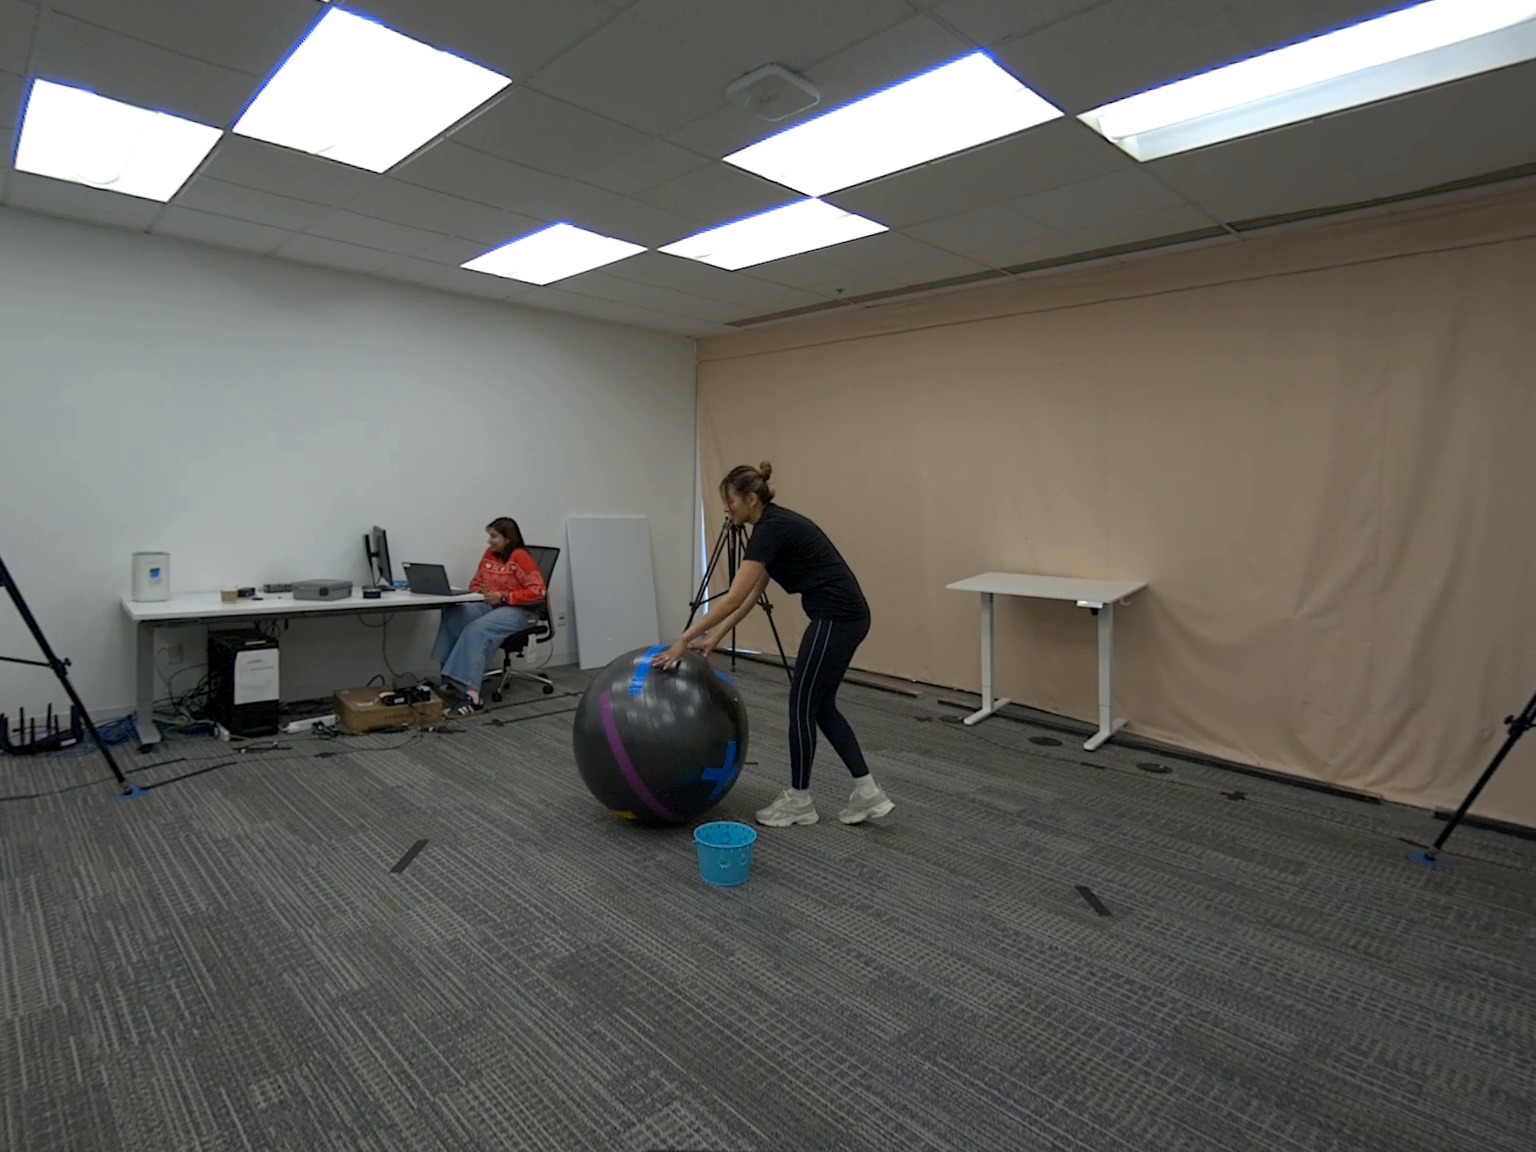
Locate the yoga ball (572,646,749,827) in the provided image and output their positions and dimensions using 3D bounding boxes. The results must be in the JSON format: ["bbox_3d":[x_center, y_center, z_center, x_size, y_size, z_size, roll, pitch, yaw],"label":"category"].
[{"bbox_3d":[-0.467,0.681,3.631,0.757,0.756,0.761,1,4,-1],"label":"yoga ball"}]
